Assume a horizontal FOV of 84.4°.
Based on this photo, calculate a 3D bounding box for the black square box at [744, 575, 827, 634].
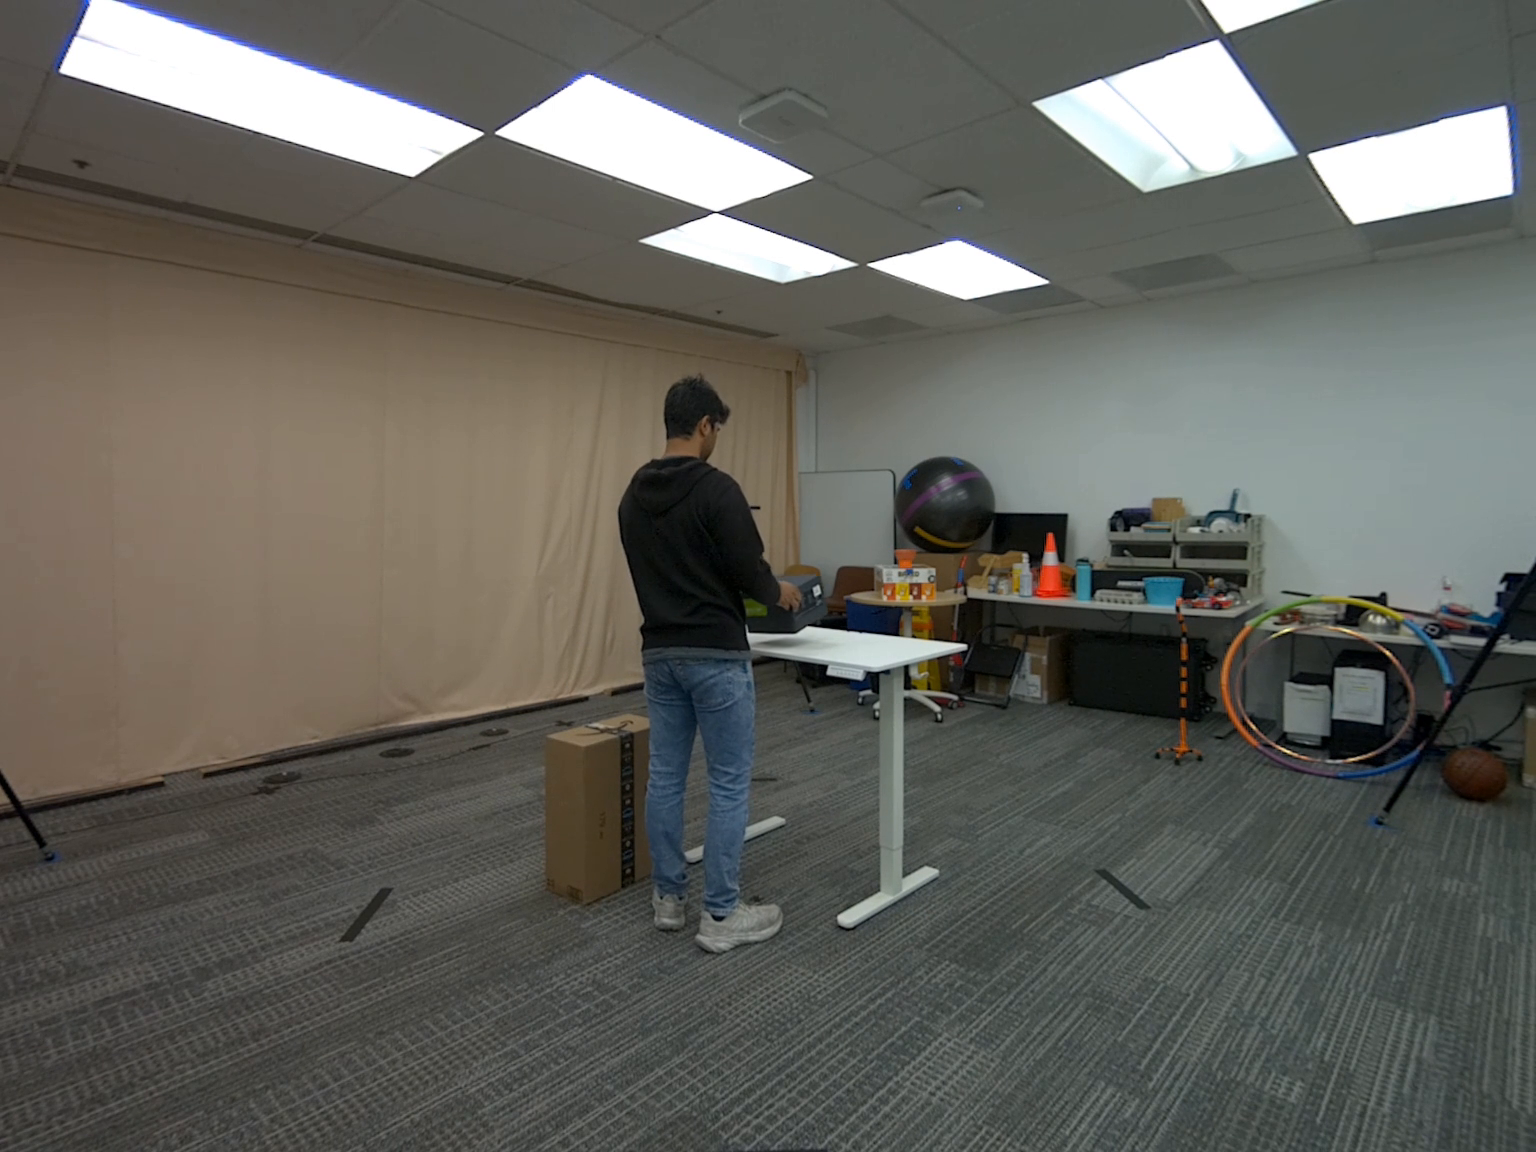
[{"bbox_3d":[0.048,0.101,3.123,0.235,0.154,0.212,-2,16,40],"label":"black square box"}]
